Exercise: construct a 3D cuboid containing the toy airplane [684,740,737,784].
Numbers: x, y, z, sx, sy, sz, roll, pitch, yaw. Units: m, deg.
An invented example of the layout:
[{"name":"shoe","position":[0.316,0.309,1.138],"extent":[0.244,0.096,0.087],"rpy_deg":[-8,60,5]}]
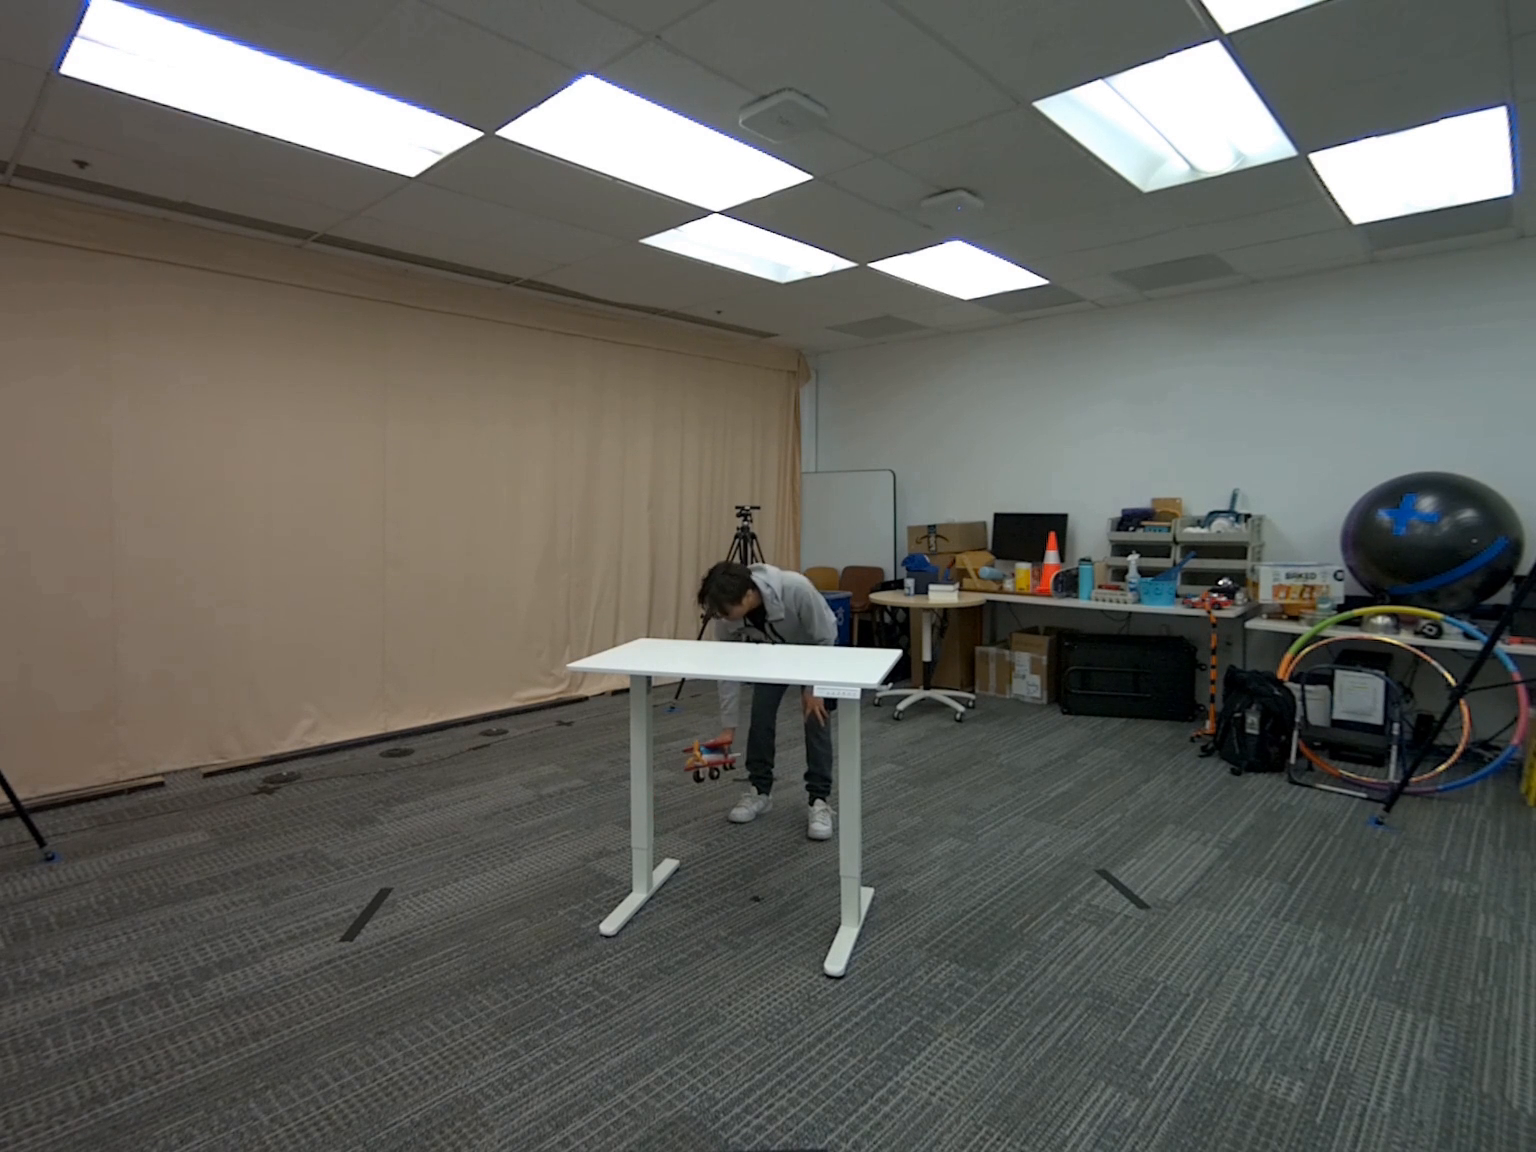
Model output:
[{"name":"toy airplane","position":[-0.258,0.793,3.667],"extent":[0.252,0.157,0.257],"rpy_deg":[-15,-4,2]}]
